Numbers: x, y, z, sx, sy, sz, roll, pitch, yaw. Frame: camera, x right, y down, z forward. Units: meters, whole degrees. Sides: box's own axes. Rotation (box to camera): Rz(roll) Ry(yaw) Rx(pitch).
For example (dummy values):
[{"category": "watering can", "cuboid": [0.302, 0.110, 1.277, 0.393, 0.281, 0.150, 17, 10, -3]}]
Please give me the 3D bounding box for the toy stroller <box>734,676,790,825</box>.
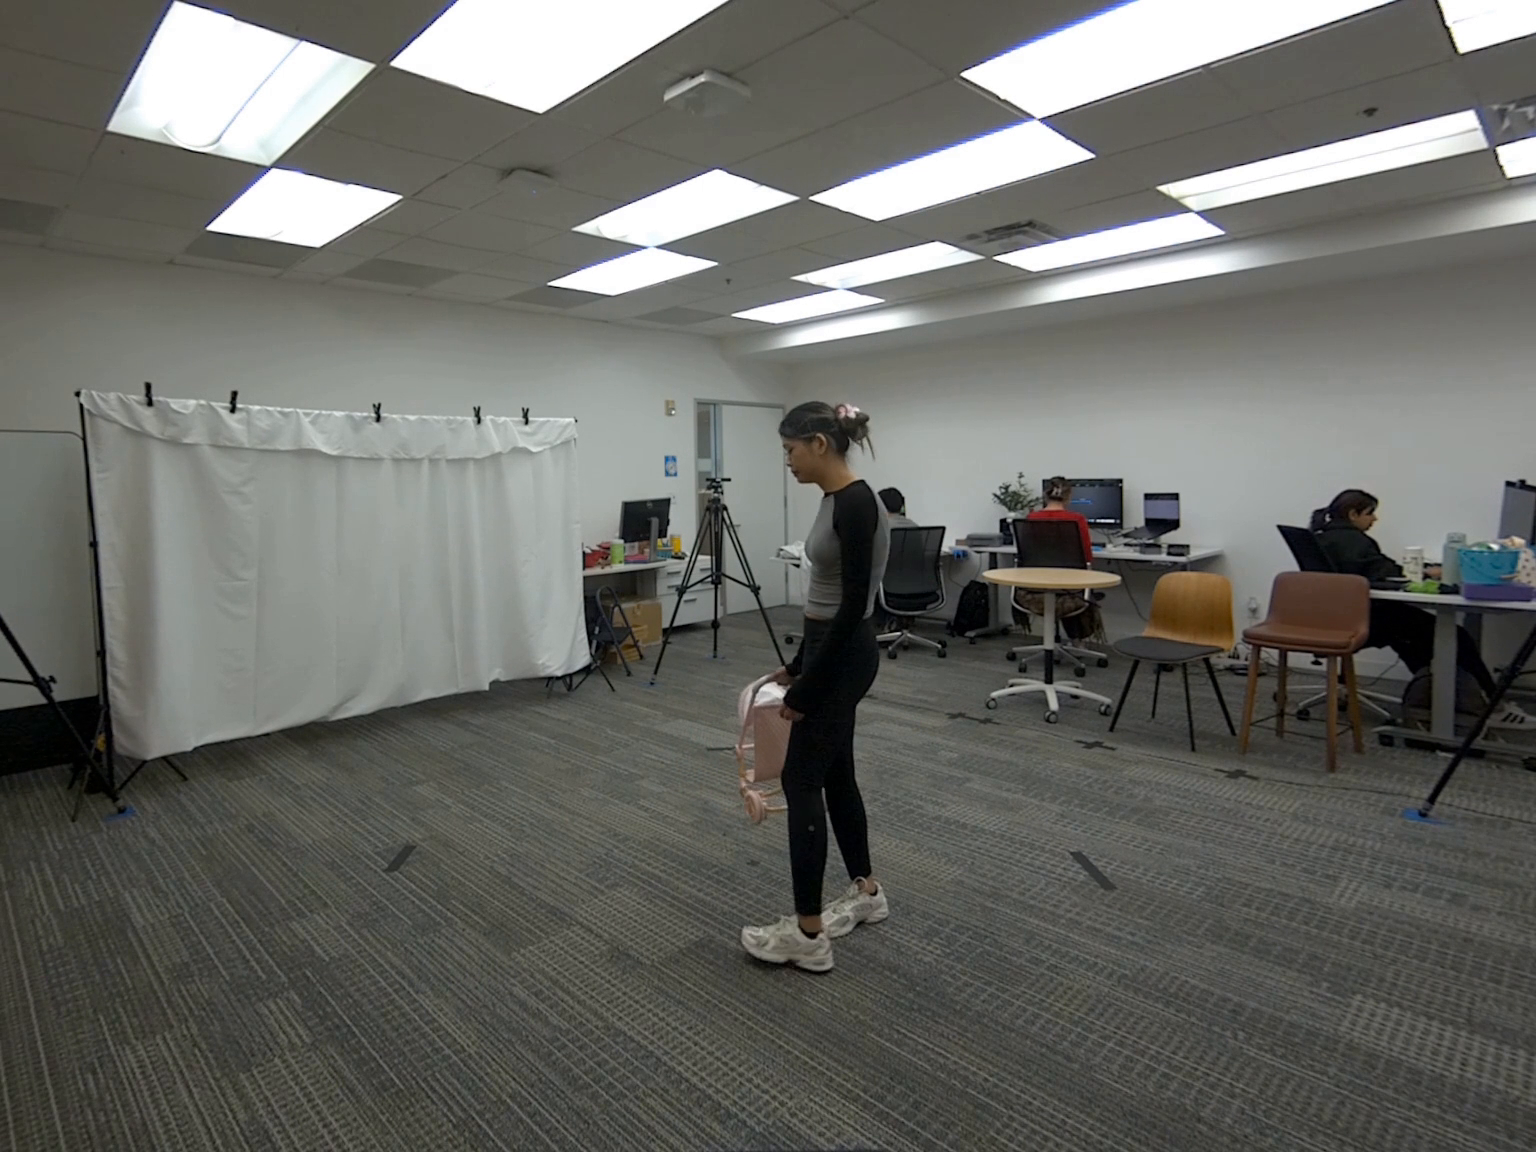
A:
[{"category": "toy stroller", "cuboid": [0.021, 0.600, 2.954, 0.277, 0.537, 0.345, -5, -3, -18]}]
